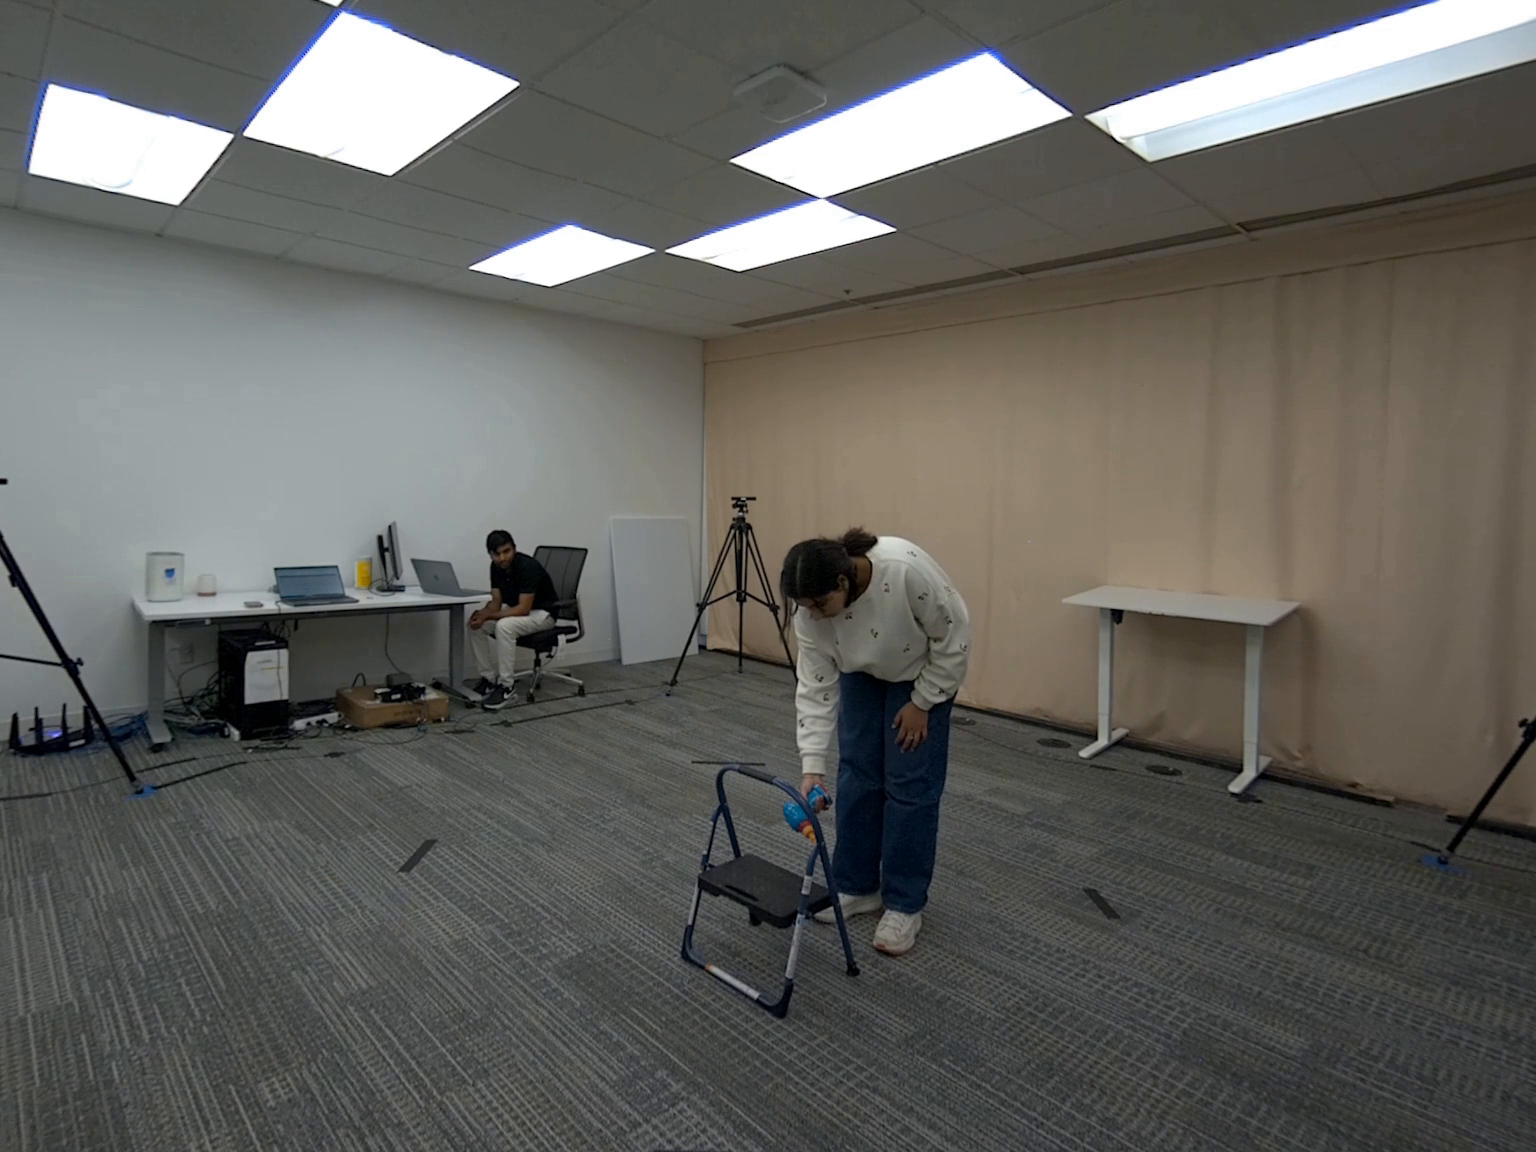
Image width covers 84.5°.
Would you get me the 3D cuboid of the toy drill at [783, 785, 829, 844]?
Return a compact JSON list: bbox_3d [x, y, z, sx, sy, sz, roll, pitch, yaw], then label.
[{"bbox_3d":[0.130,0.697,2.426,0.145,0.059,0.175,-31,37,-15],"label":"toy drill"}]
